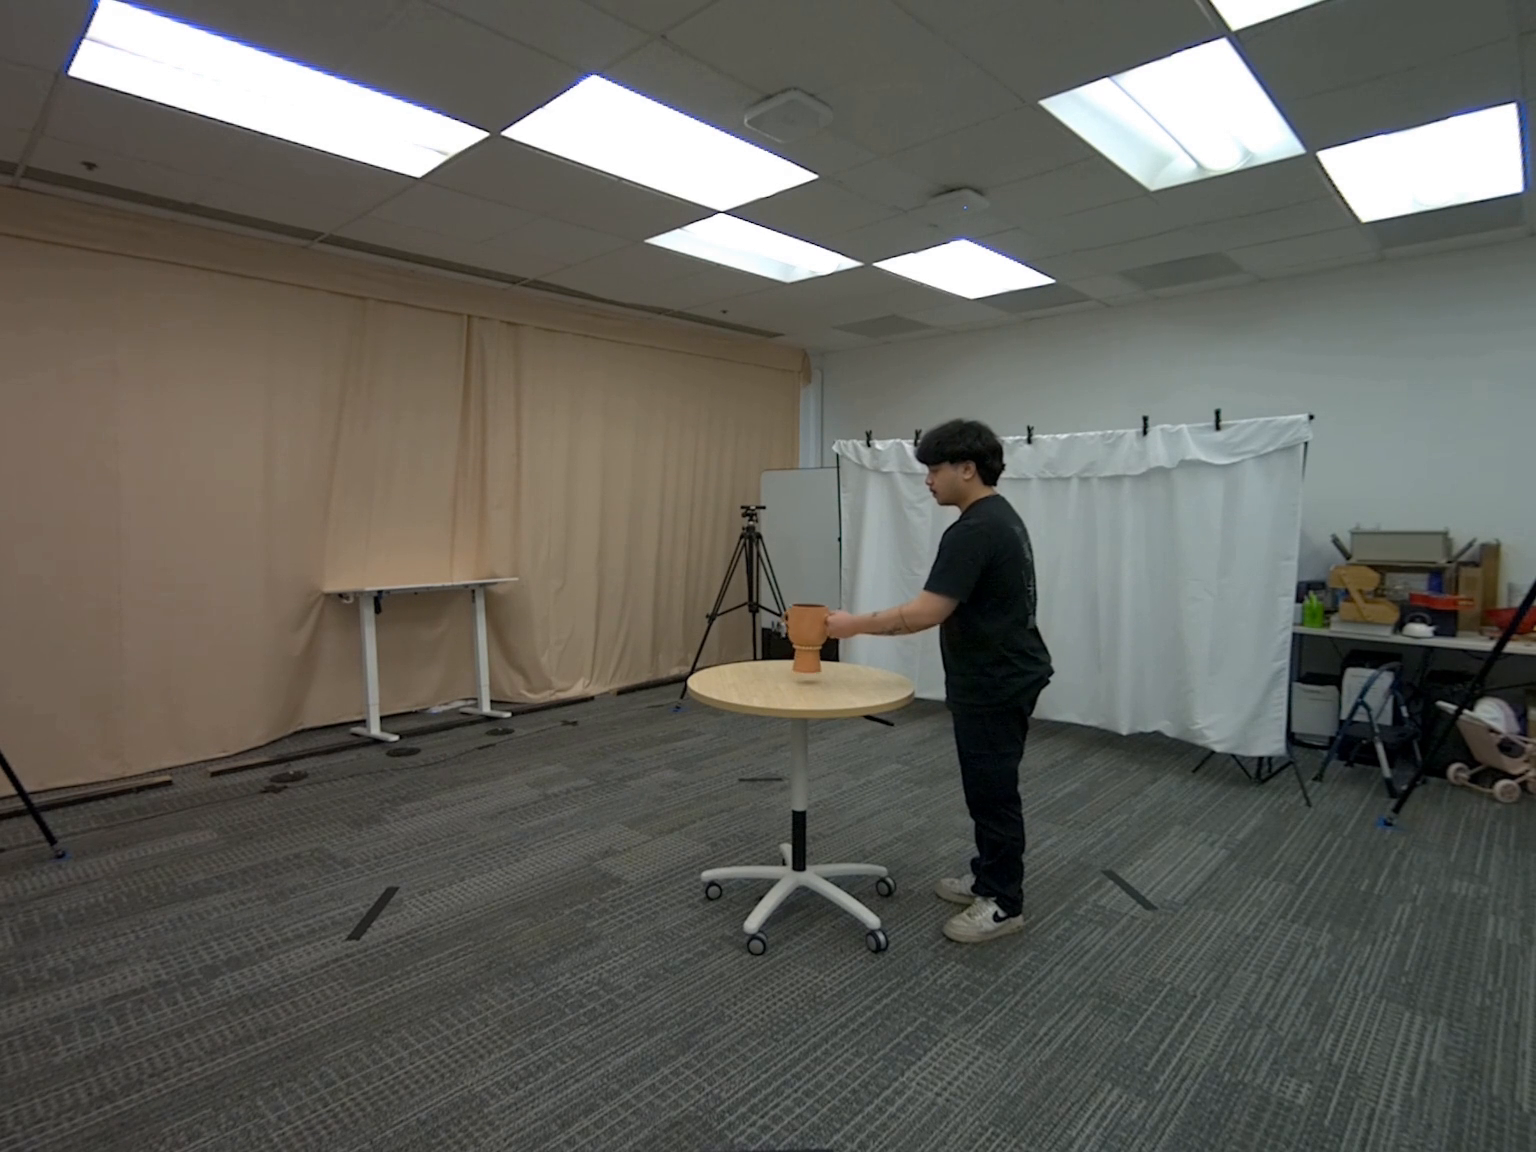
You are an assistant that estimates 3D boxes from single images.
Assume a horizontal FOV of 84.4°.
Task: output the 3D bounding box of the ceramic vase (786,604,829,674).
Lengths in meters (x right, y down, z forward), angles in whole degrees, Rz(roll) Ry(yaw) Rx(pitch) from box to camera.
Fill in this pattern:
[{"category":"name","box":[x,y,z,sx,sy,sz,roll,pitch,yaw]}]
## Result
[{"category":"ceramic vase","box":[0.150,0.213,2.835,0.132,0.219,0.162,0,3,-21]}]
